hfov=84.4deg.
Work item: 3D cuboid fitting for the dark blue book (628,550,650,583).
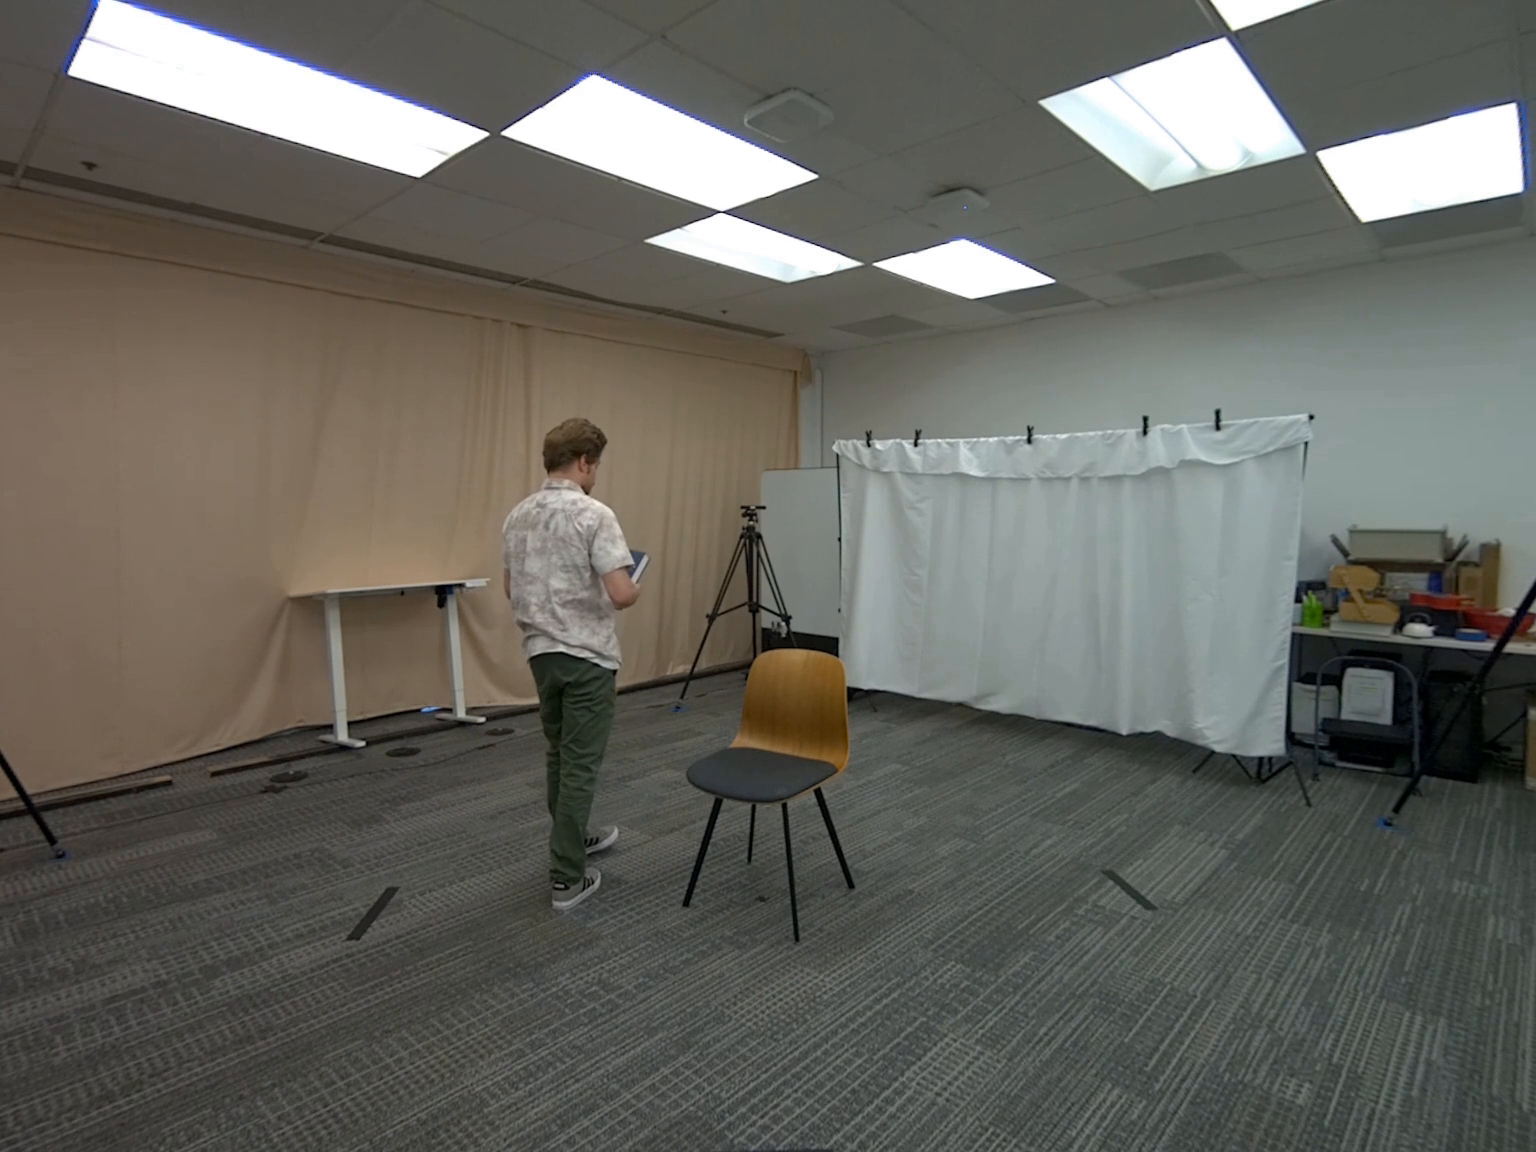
[{"bbox_3d":[-0.580,0.006,3.260,0.168,0.245,0.044,10,-30,31],"label":"dark blue book"}]
